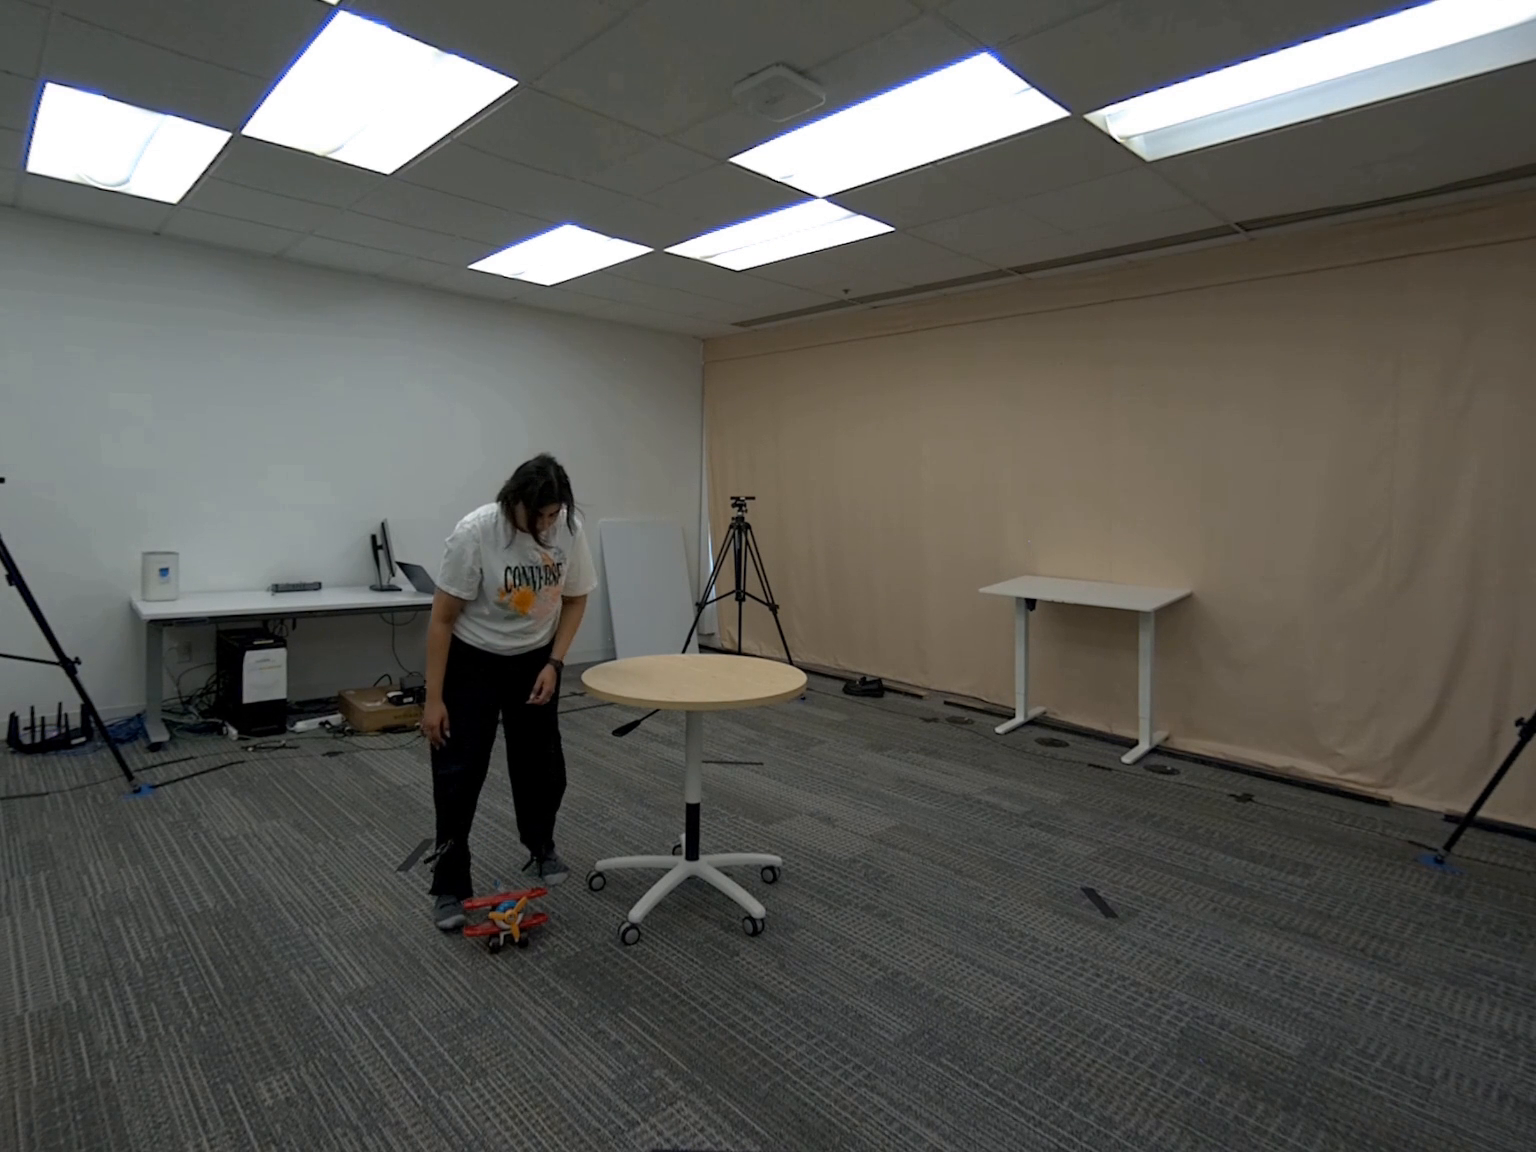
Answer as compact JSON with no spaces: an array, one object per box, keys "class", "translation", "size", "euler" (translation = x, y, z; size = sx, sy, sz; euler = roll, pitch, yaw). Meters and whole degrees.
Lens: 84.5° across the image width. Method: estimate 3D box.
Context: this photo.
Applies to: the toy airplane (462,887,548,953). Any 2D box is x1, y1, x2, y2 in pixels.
[{"class":"toy airplane","translation":[-0.858,1.065,2.627],"size":[0.266,0.155,0.246],"euler":[8,10,38]}]
